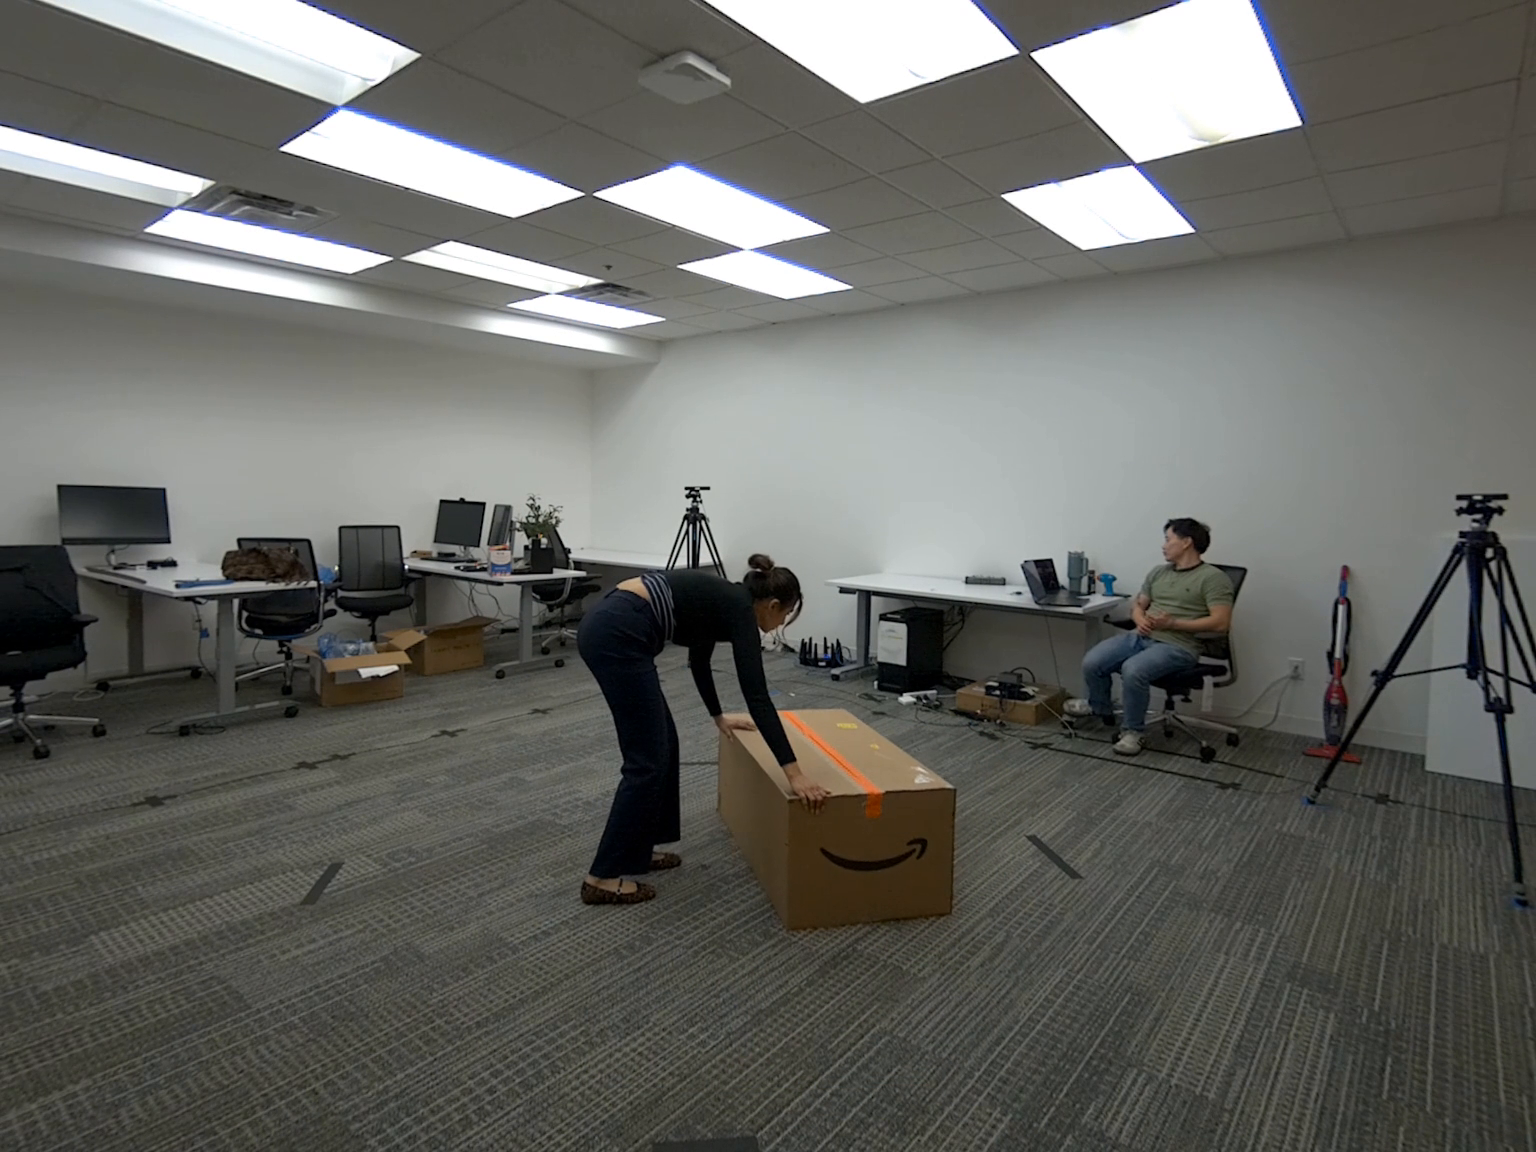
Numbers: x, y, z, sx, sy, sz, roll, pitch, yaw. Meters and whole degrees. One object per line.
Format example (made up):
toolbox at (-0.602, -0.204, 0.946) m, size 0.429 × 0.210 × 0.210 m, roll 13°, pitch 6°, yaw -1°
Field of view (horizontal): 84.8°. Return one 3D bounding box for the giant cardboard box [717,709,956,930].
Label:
giant cardboard box at (0.195, 0.844, 3.220) m, size 0.569 × 0.424 × 1.045 m, roll -1°, pitch 6°, yaw -15°
